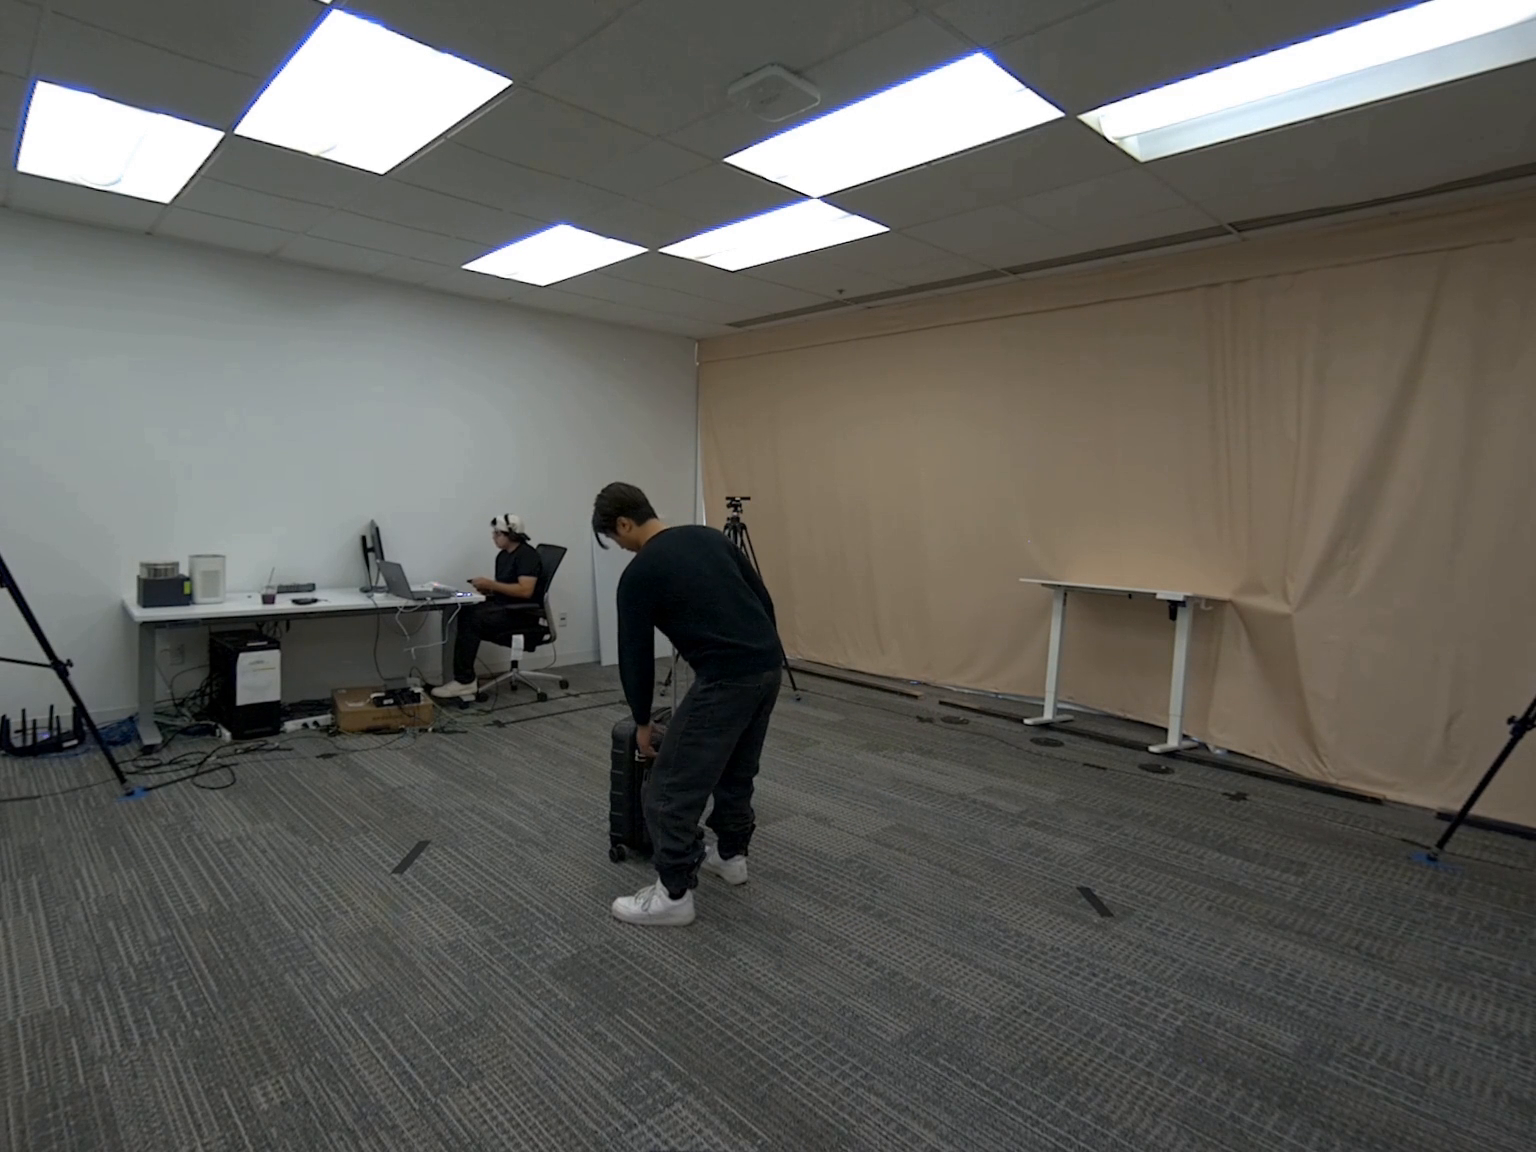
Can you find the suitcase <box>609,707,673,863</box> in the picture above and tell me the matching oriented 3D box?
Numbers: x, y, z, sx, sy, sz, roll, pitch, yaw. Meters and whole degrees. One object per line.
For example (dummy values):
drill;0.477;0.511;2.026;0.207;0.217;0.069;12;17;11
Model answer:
suitcase;-0.465;0.605;3.315;0.260;0.977;0.380;-1;2;15
